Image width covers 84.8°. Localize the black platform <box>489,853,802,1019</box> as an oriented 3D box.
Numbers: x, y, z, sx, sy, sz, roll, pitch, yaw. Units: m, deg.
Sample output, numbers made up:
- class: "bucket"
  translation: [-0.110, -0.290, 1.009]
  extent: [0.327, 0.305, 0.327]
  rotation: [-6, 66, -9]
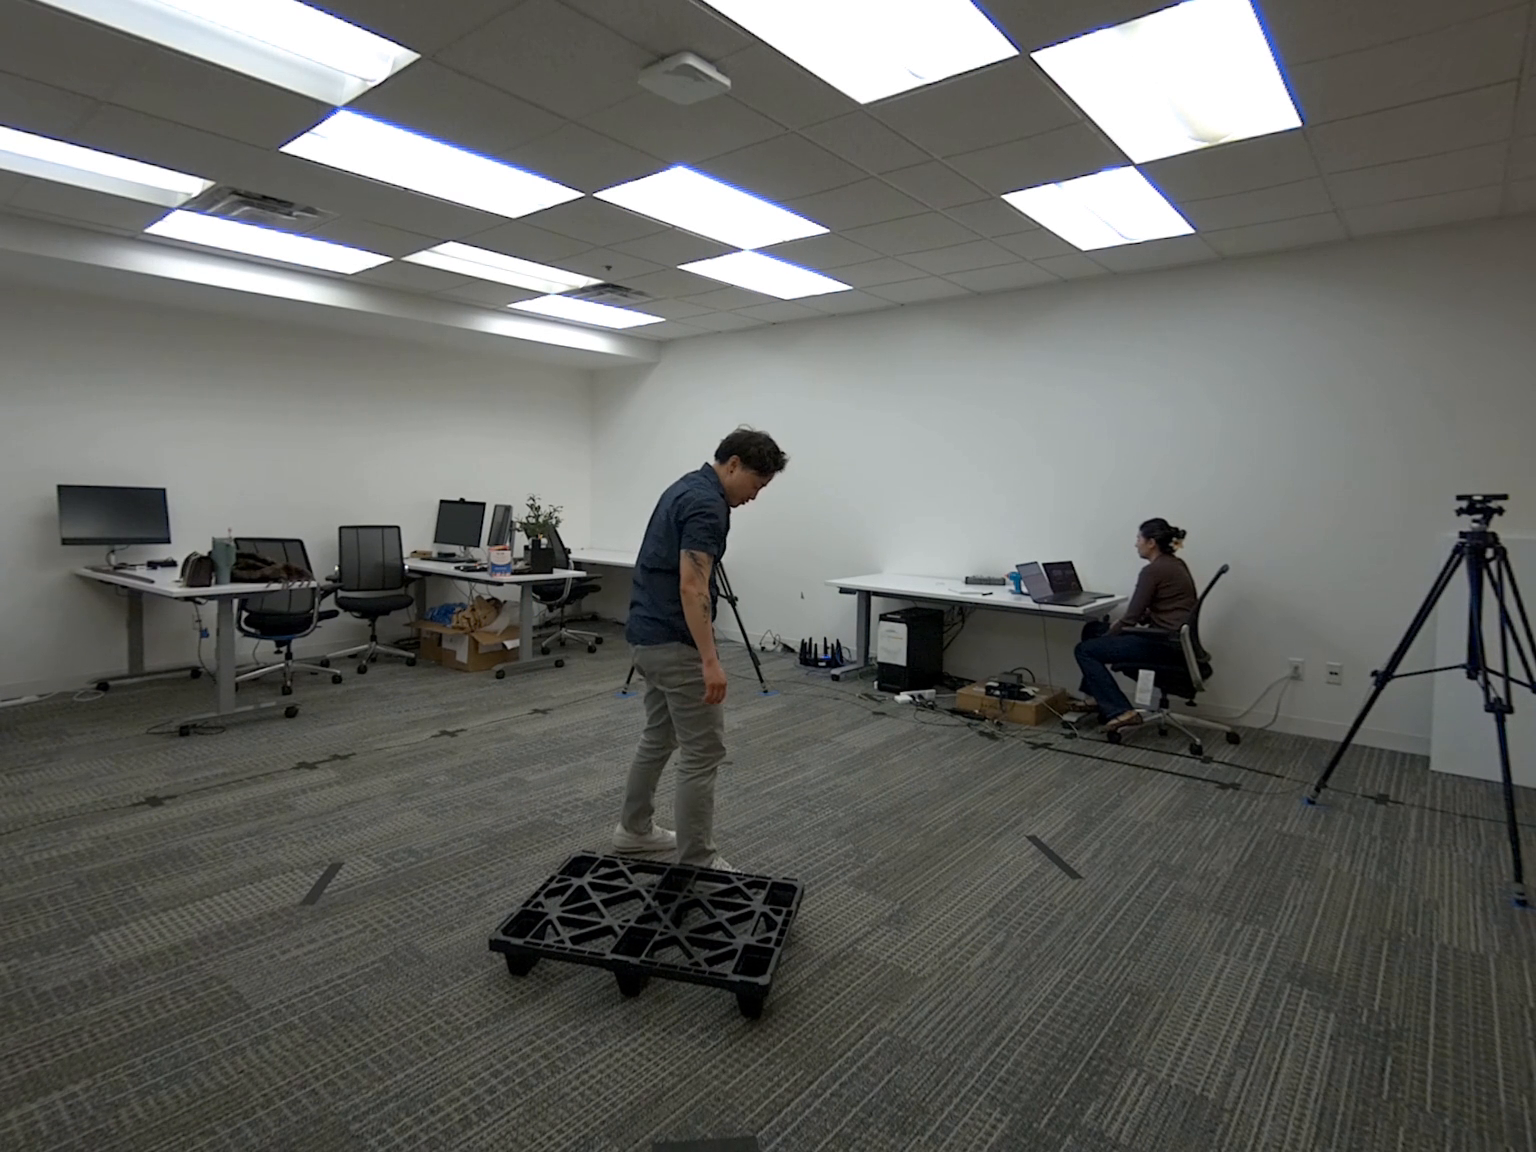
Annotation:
- class: "black platform"
  translation: [-0.343, 1.051, 2.548]
  extent: [0.818, 0.143, 0.598]
  rotation: [2, 5, 13]
